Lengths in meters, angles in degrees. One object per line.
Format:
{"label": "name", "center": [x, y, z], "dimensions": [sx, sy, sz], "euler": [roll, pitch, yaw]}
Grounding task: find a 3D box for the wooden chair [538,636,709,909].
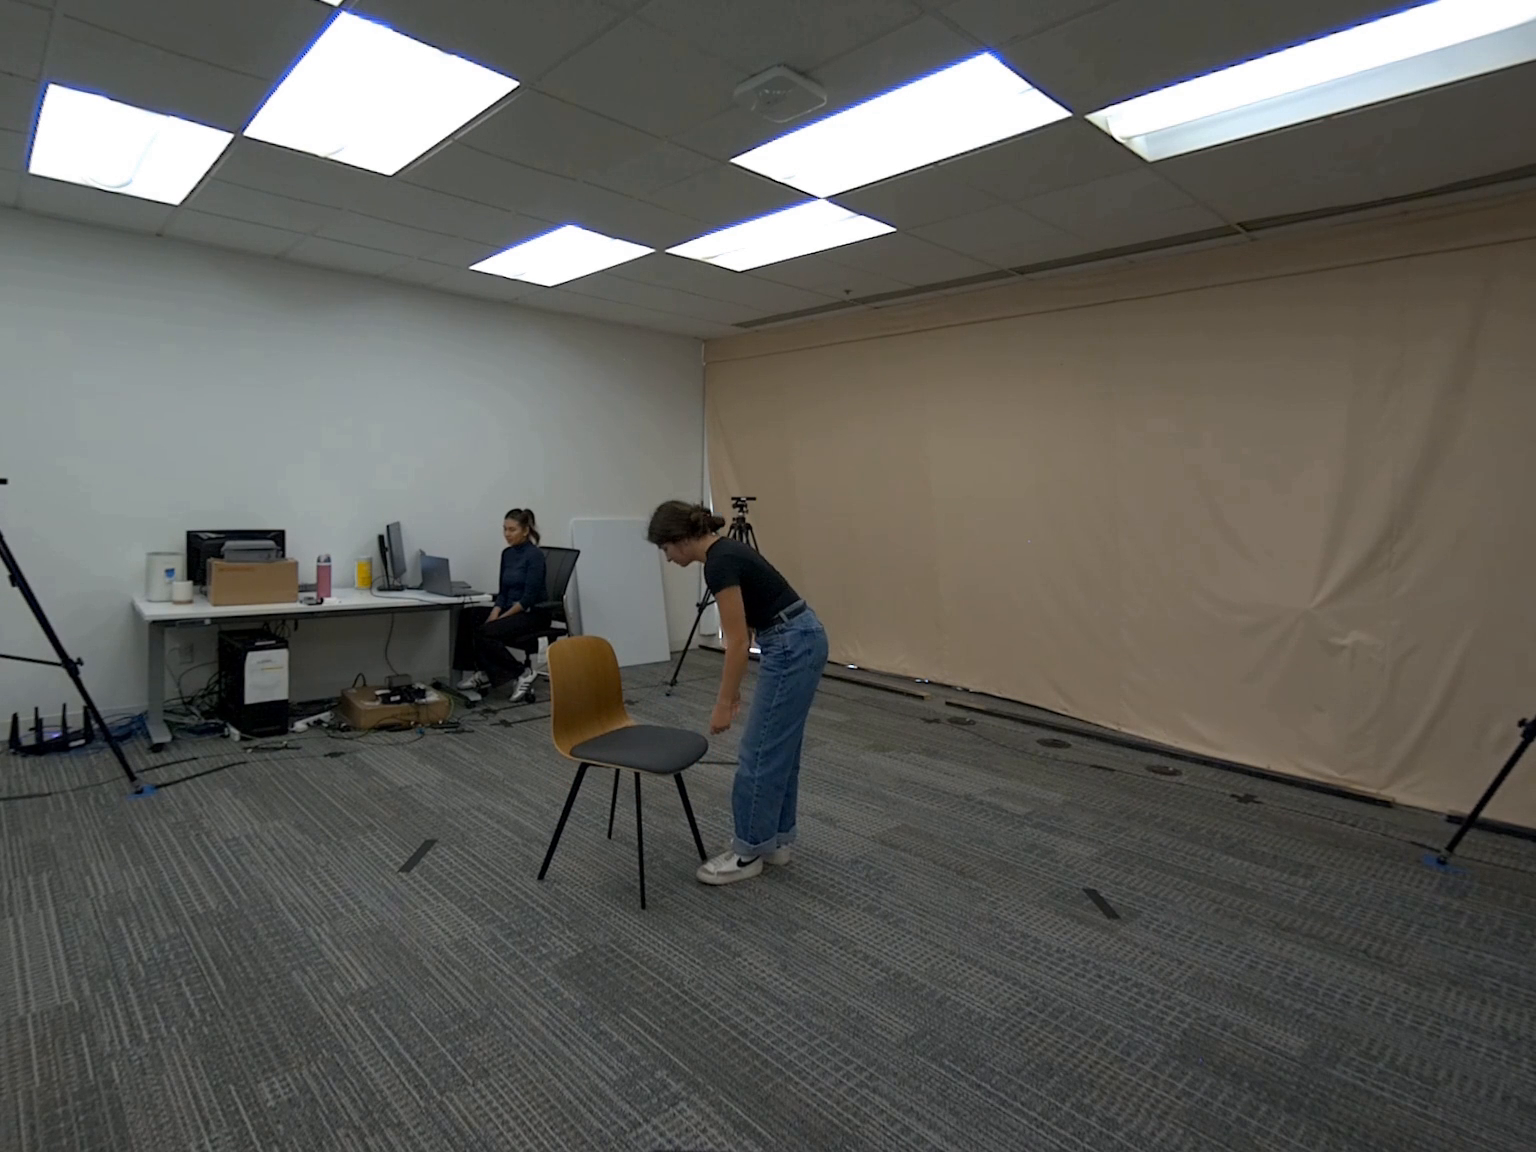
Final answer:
{"label": "wooden chair", "center": [-0.514, 0.668, 3.097], "dimensions": [0.533, 0.876, 0.470], "euler": [-2, 1, 26]}
